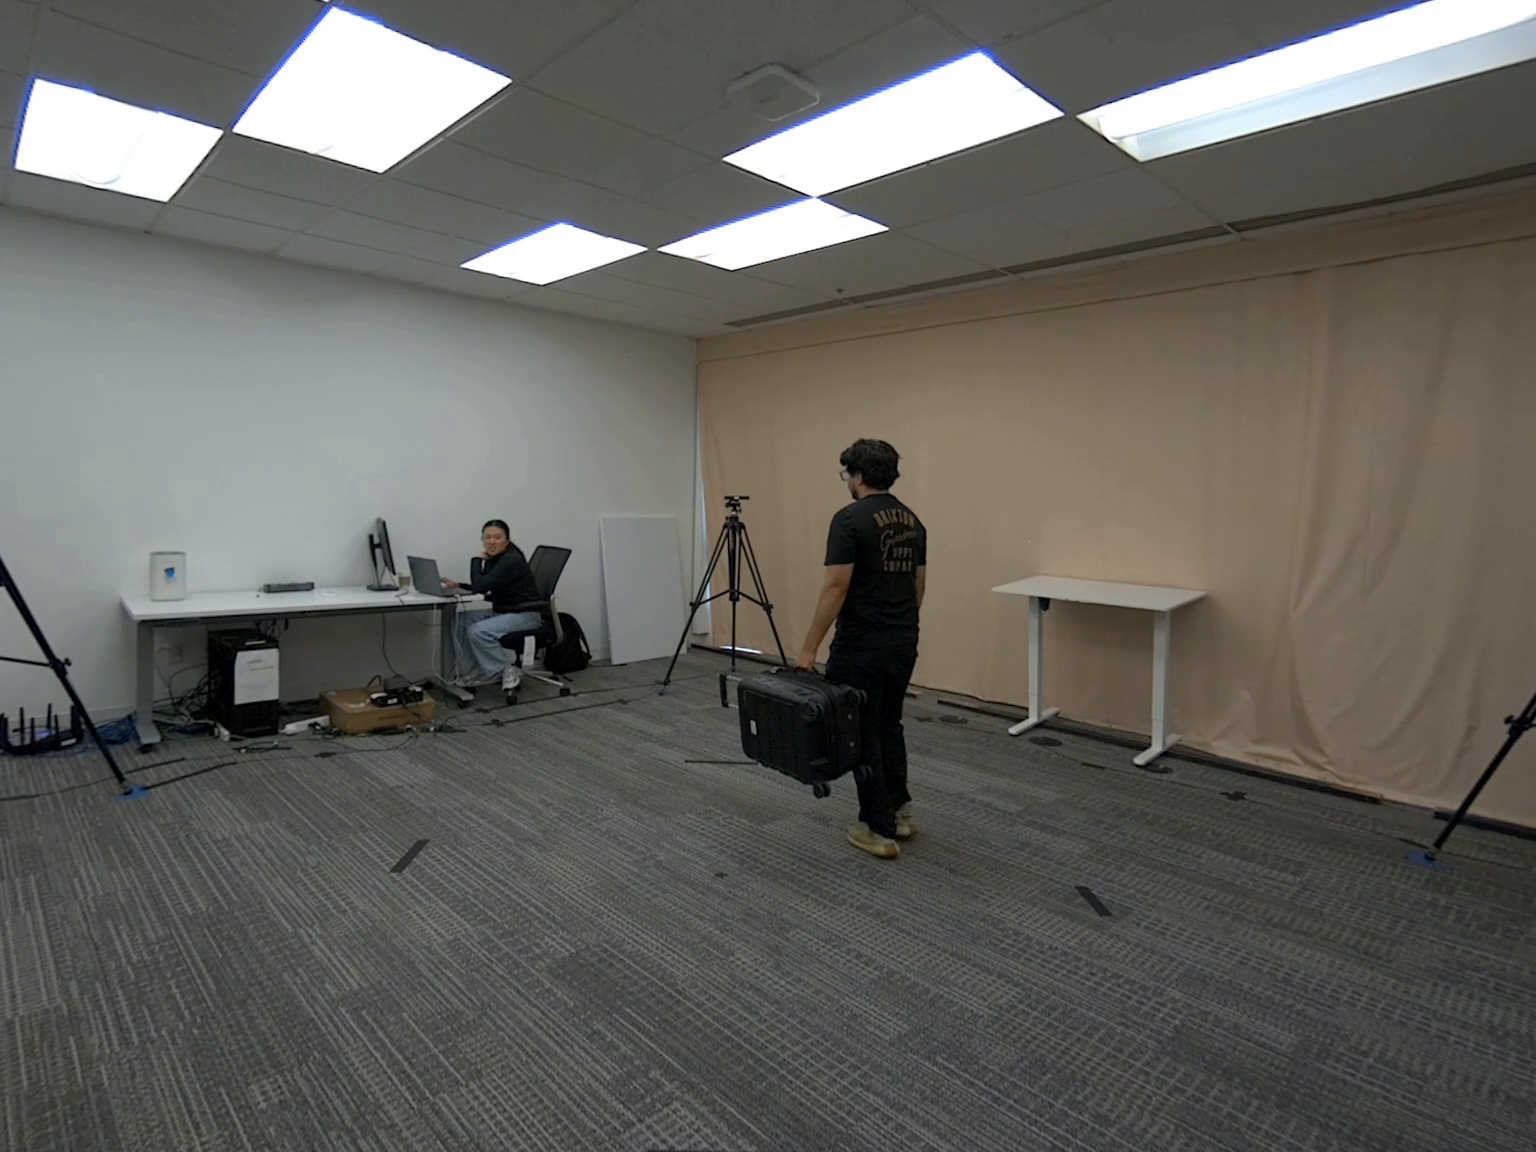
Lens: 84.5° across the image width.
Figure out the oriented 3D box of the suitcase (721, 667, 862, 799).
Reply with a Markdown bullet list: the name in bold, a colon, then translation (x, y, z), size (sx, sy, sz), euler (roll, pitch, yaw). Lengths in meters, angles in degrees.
- **suitcase**: translation (-0.009, 0.568, 3.462), size (0.252, 0.382, 1.002), euler (-10, 9, -34)
